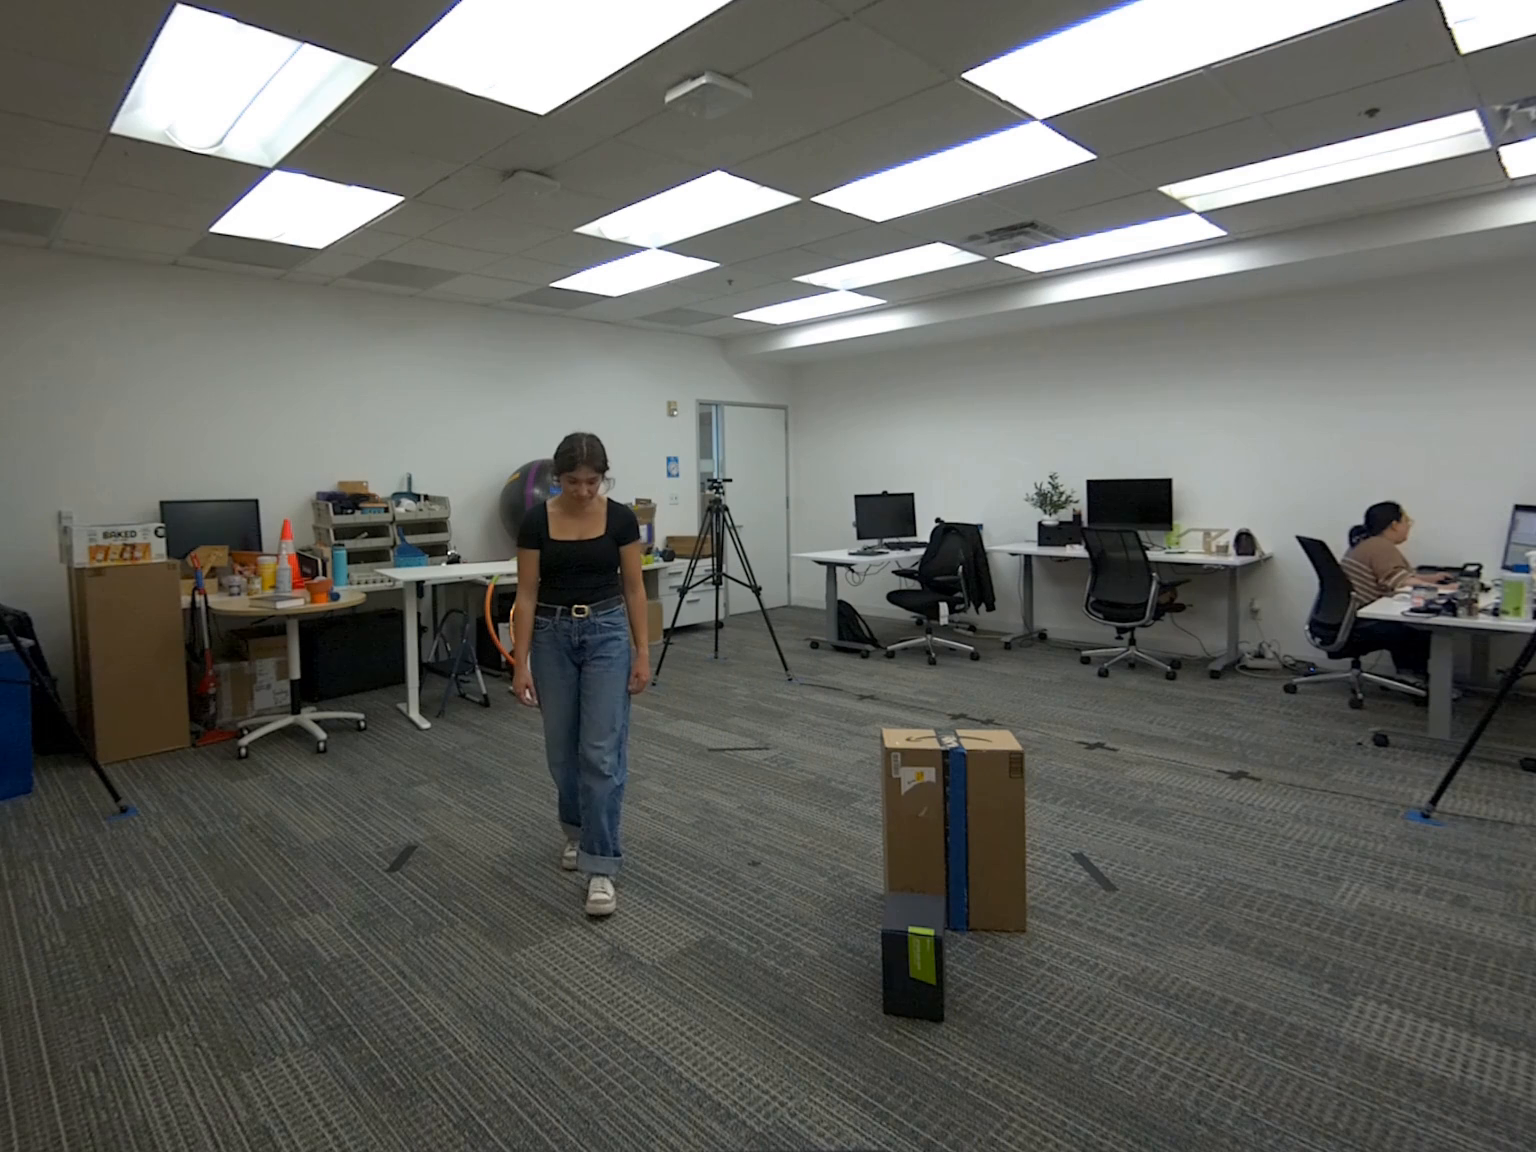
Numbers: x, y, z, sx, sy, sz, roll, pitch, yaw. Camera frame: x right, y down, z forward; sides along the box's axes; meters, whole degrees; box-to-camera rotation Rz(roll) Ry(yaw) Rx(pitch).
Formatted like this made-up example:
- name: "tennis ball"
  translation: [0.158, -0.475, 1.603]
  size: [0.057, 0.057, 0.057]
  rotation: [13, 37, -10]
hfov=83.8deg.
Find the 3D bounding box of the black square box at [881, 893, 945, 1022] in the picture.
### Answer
- name: "black square box"
  translation: [0.401, 1.012, 2.293]
  size: [0.158, 0.227, 0.215]
  rotation: [-2, 5, 14]
